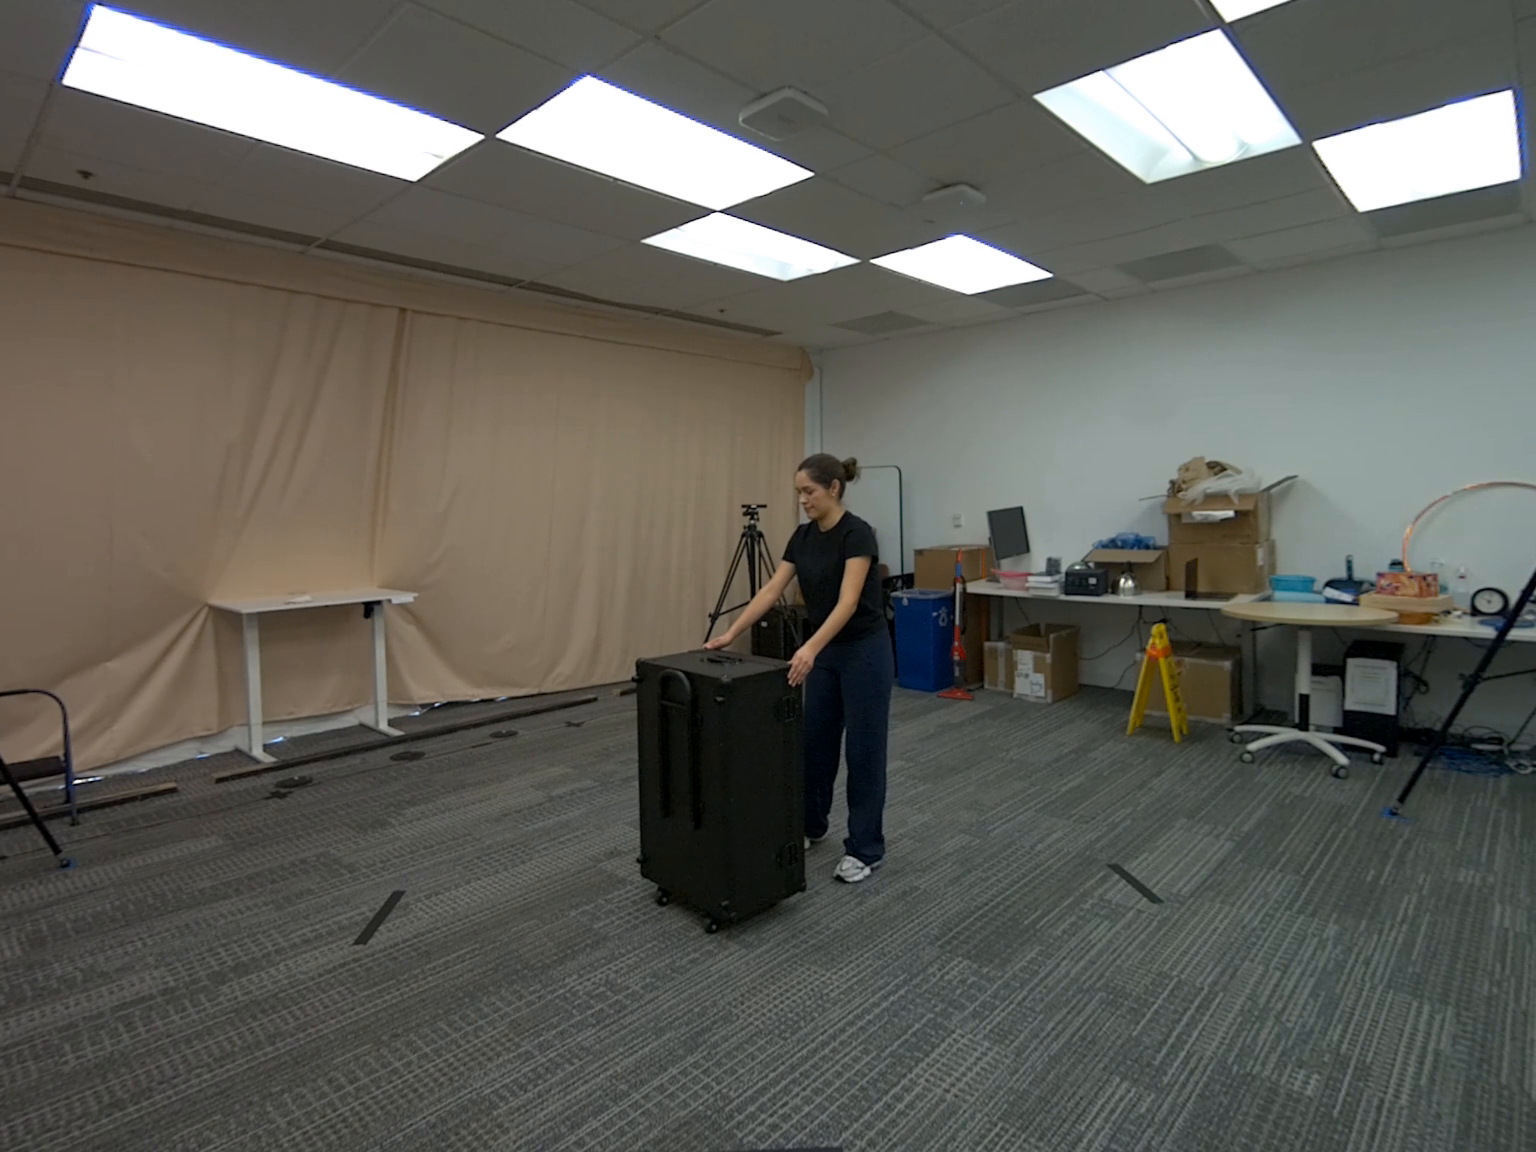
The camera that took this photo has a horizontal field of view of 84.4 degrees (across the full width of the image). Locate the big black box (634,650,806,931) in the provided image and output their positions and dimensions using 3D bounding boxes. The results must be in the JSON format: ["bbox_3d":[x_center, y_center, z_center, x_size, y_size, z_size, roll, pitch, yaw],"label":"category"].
[{"bbox_3d":[-0.159,0.721,2.920,0.384,0.859,0.538,-5,5,-43],"label":"big black box"}]
